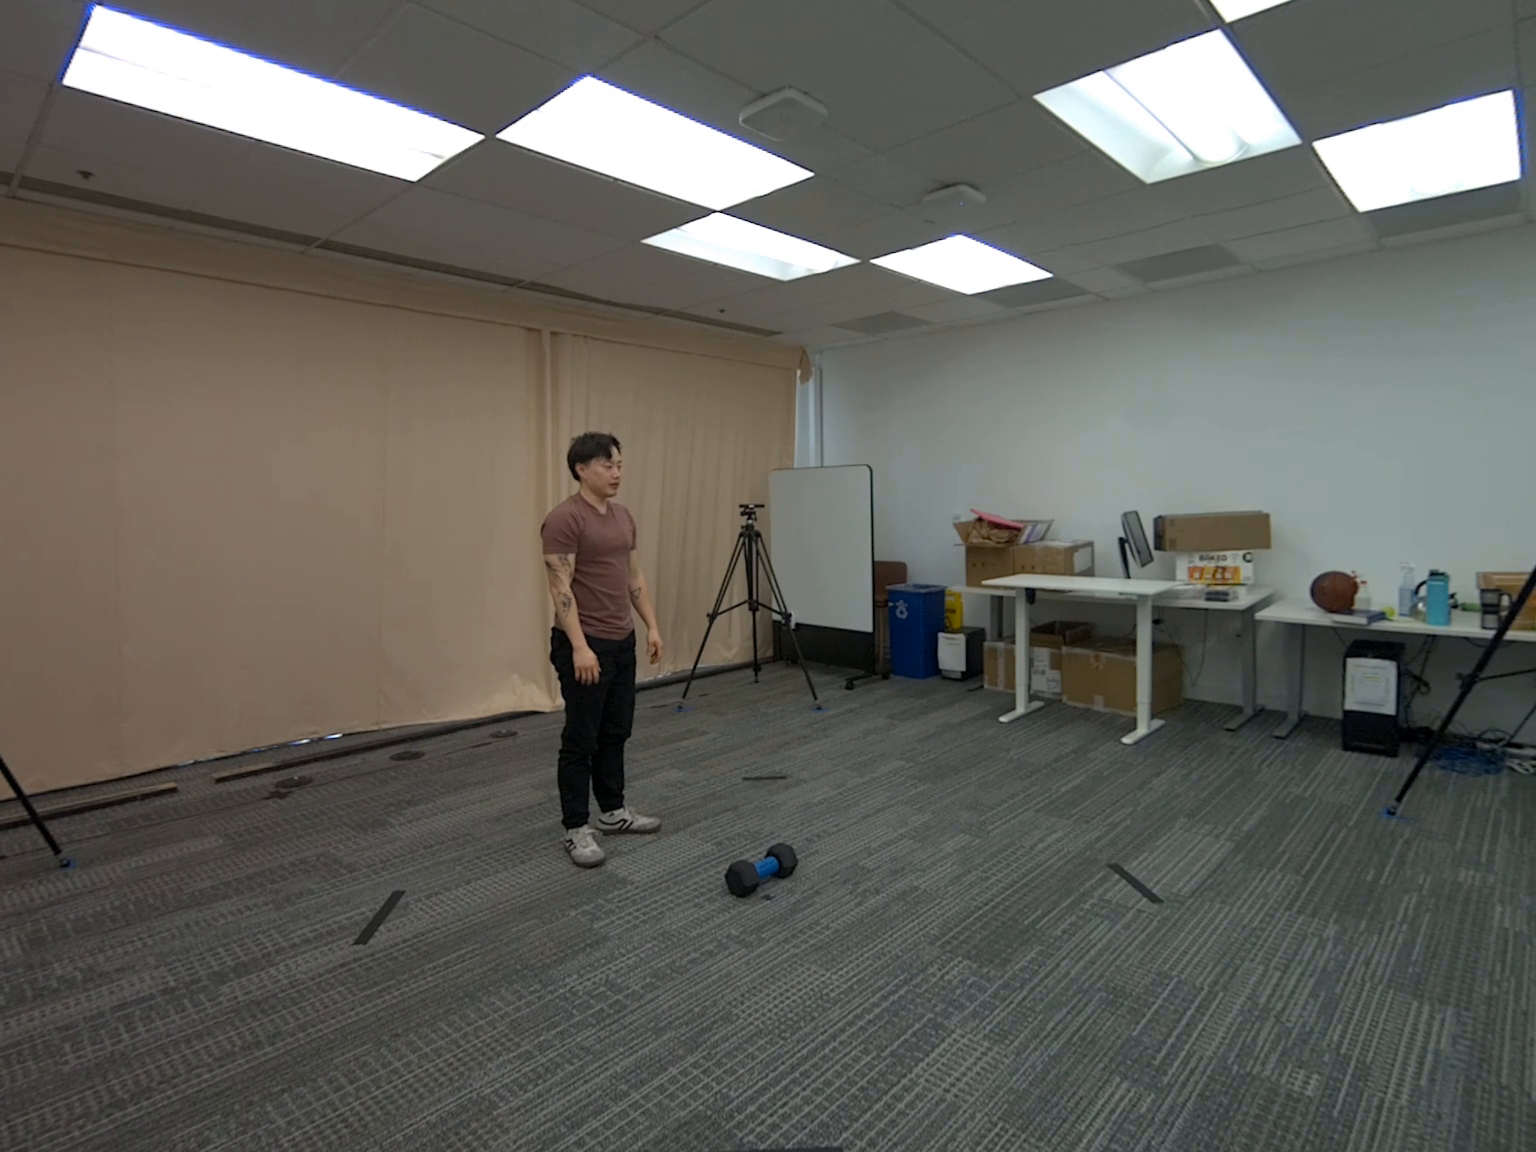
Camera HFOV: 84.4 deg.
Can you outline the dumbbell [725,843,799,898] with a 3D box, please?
[{"bbox_3d":[-0.018,1.076,3.087,0.285,0.125,0.110,-6,-22,-46],"label":"dumbbell"}]
